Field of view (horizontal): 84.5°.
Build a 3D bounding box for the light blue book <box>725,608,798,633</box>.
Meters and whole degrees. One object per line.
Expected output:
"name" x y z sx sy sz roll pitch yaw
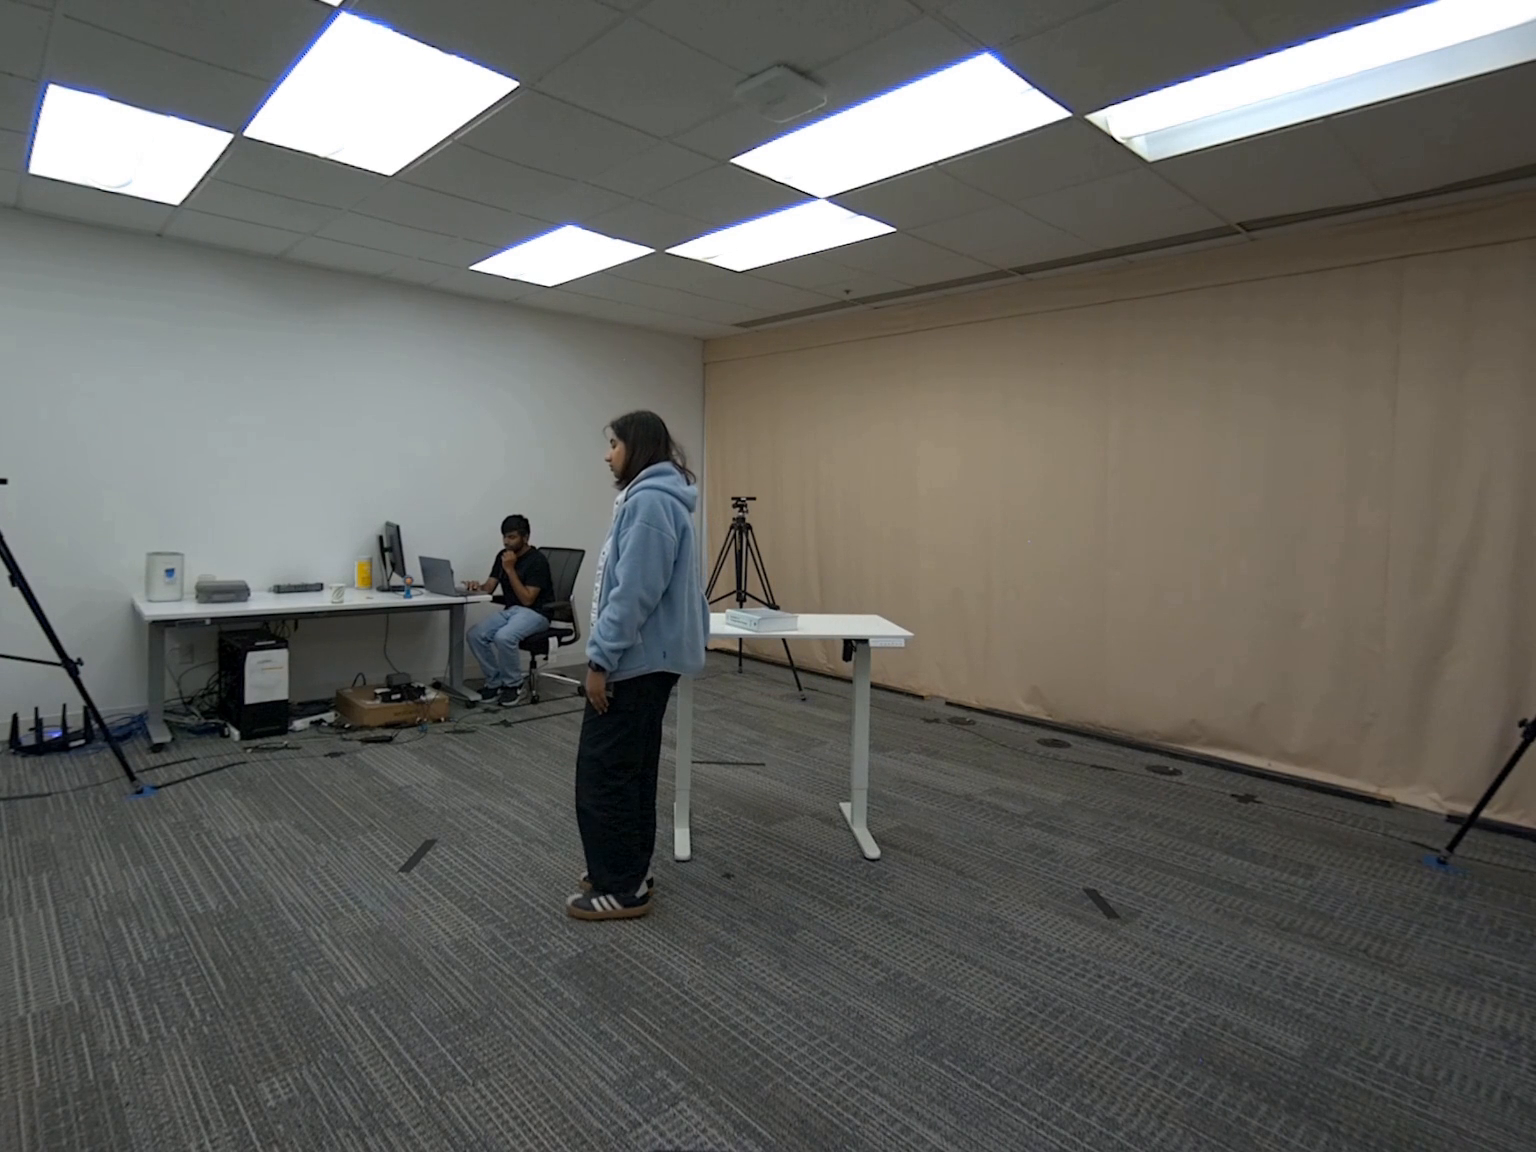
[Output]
"light blue book" -0.037 0.175 3.385 0.187 0.059 0.267 -2 6 -31
